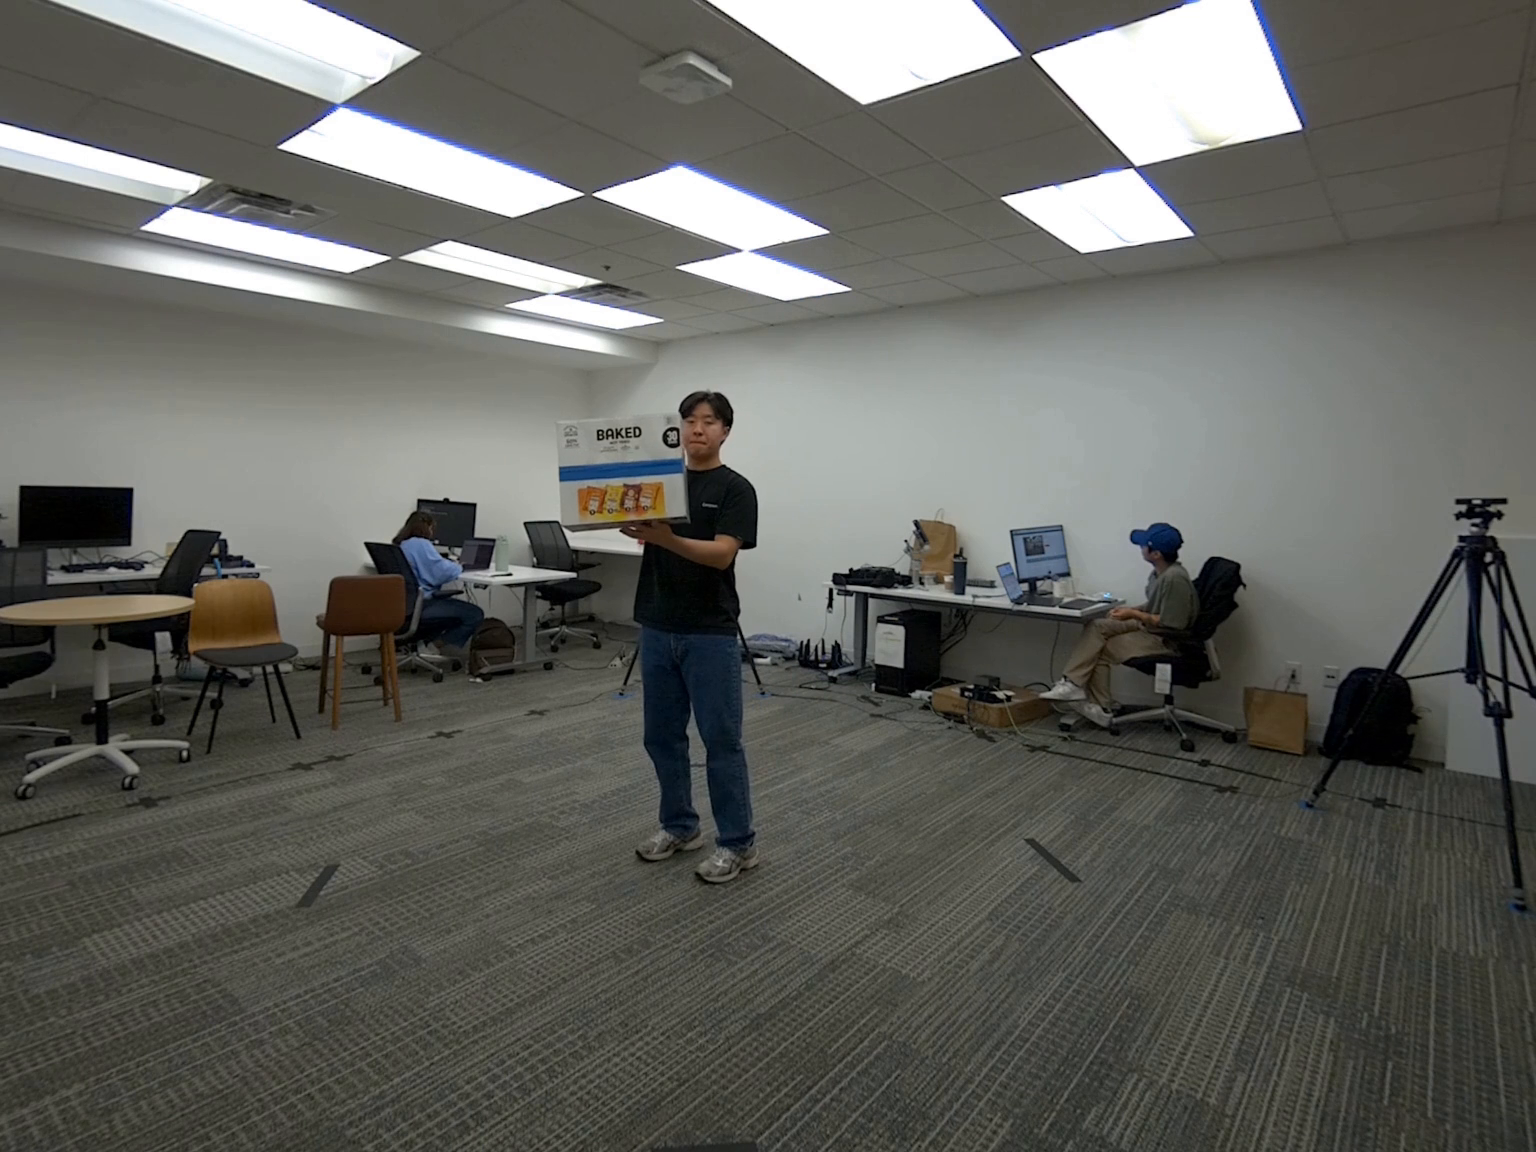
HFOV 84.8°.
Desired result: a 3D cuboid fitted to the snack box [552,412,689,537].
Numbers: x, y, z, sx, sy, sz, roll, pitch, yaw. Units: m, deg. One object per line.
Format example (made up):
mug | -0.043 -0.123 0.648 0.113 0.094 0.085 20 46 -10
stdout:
snack box | -0.485 -0.336 2.820 0.405 0.342 0.205 -7 -5 -1
